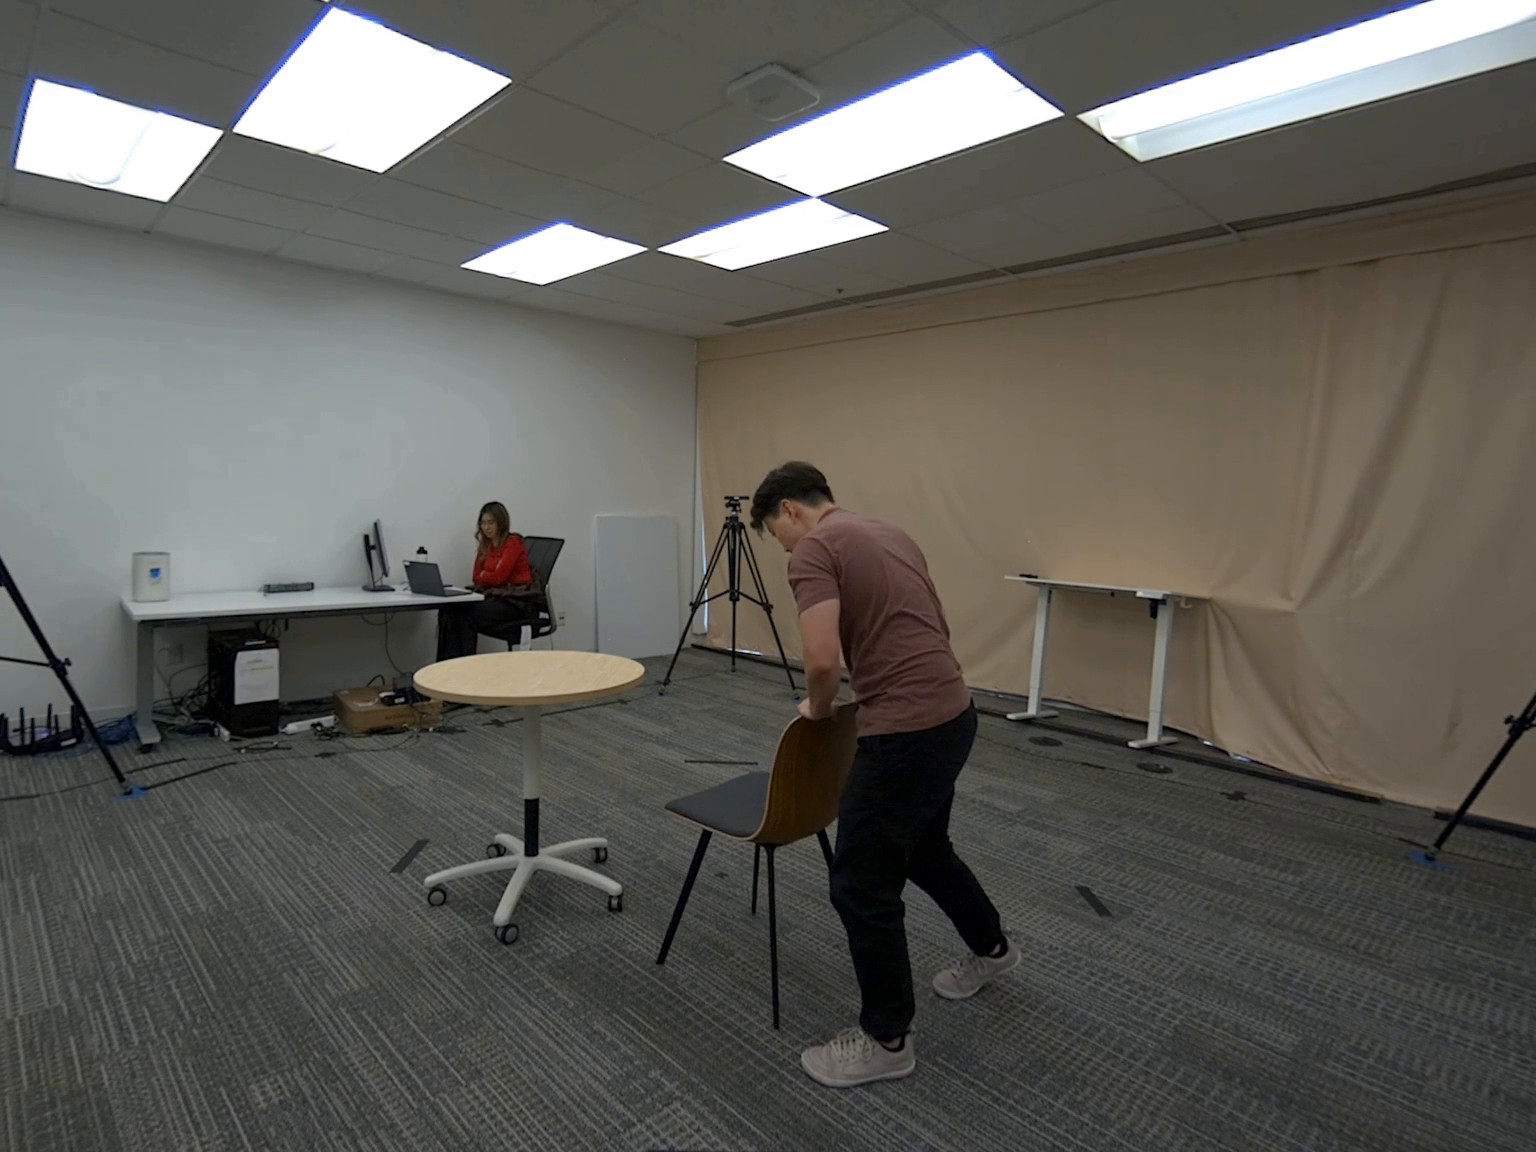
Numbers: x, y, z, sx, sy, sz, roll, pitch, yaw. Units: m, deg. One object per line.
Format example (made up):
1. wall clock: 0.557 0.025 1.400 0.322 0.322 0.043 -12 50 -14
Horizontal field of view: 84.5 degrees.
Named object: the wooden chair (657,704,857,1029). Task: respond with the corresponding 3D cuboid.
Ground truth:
1. wooden chair: -0.011 0.734 2.496 0.537 0.873 0.467 11 9 39
